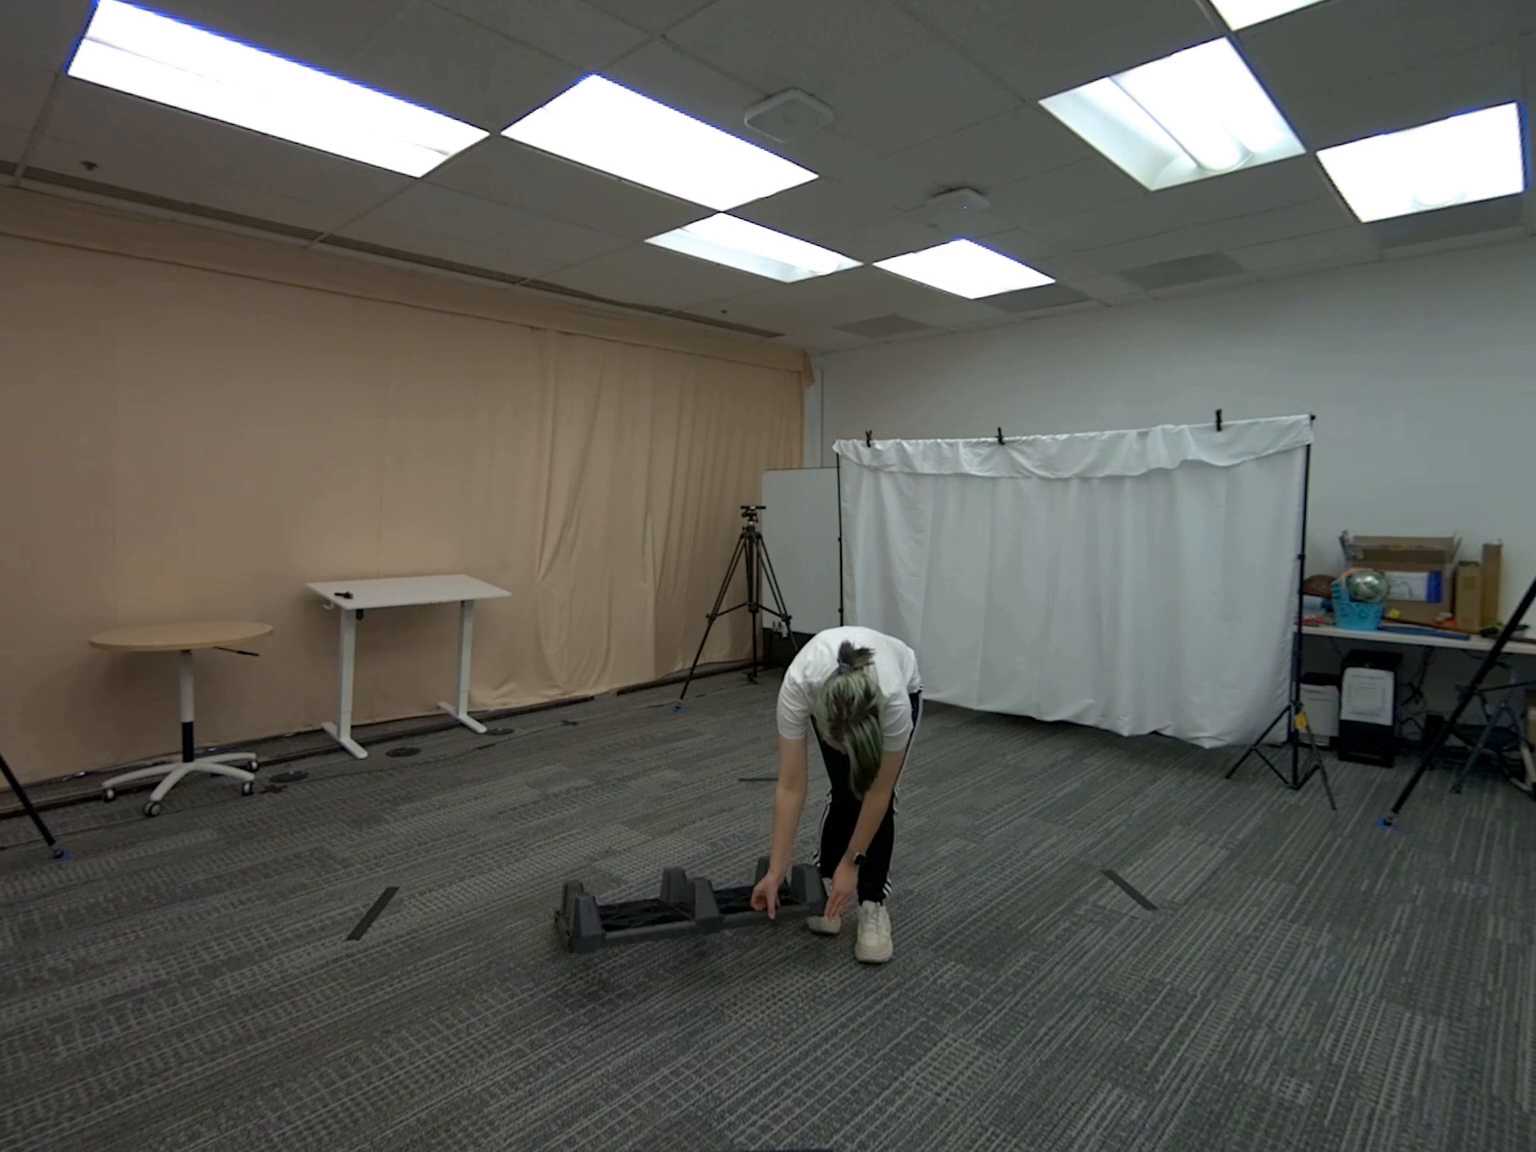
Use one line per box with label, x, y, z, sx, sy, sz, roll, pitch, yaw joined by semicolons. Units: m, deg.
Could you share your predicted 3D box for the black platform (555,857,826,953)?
black platform;-0.256;1.019;2.662;0.792;0.145;0.609;-2;-13;-17
